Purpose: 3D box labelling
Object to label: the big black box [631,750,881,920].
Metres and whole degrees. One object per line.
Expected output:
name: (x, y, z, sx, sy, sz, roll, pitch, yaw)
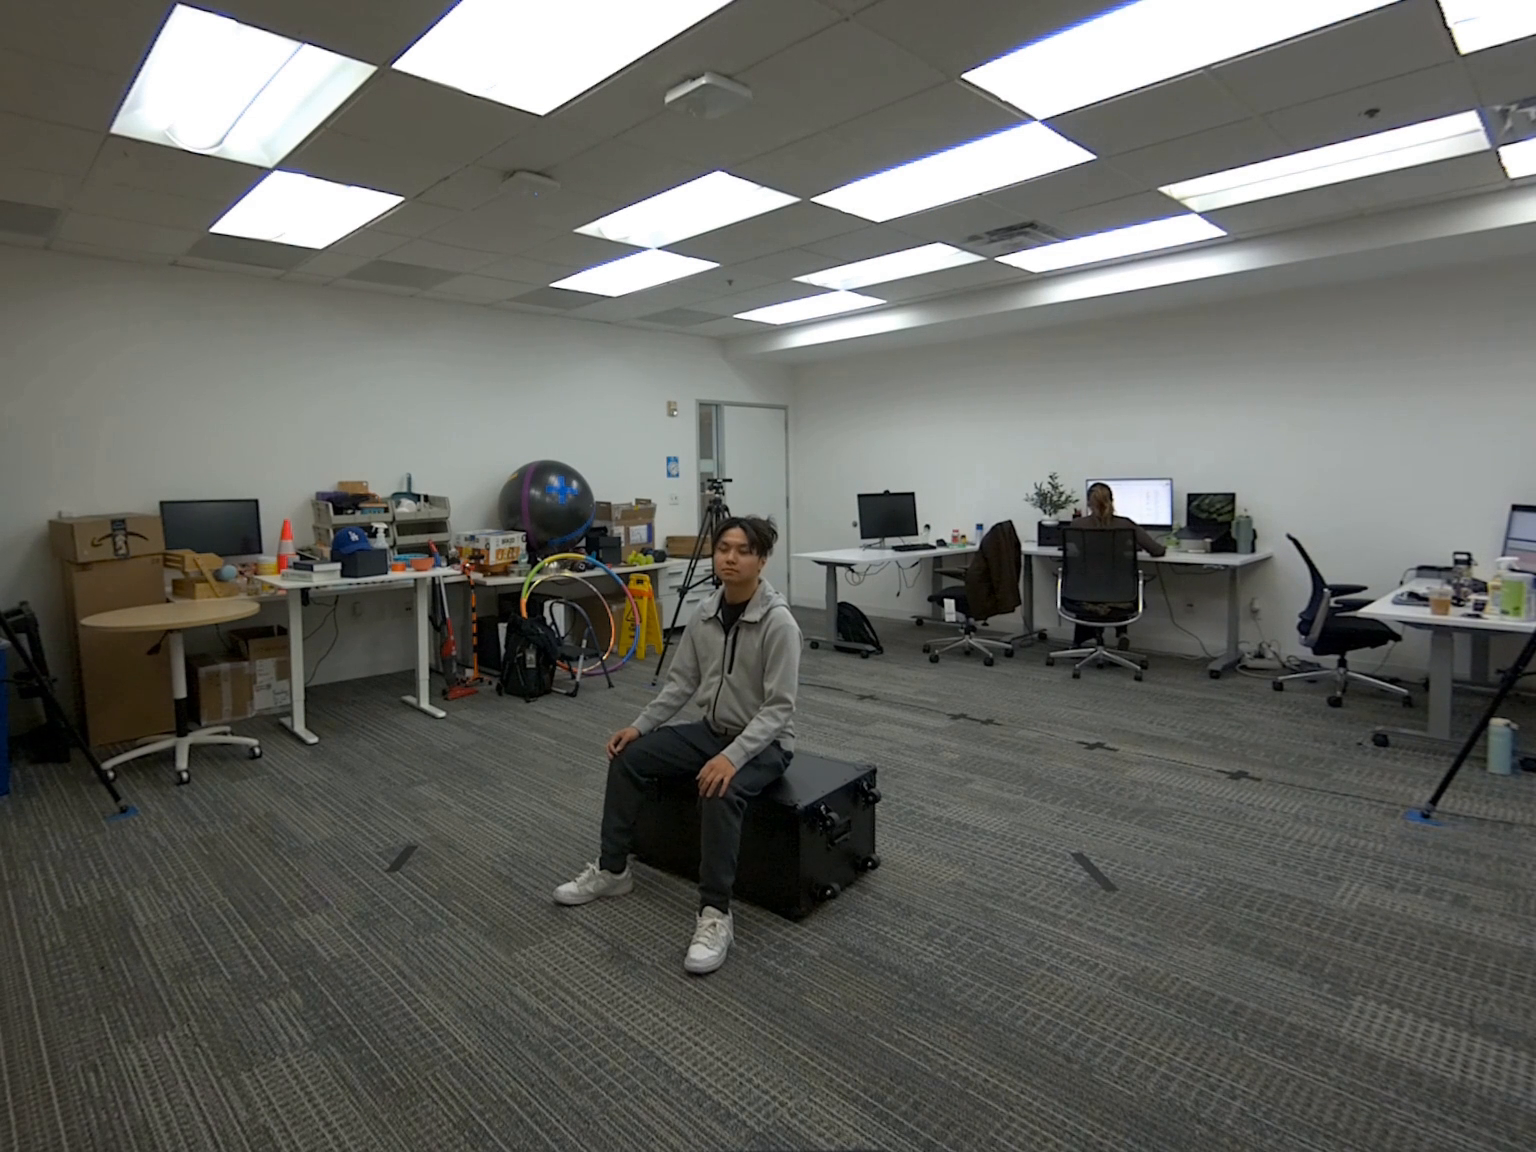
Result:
big black box: (-0.090, 0.861, 3.115, 0.887, 0.395, 0.508, 4, 7, 38)
